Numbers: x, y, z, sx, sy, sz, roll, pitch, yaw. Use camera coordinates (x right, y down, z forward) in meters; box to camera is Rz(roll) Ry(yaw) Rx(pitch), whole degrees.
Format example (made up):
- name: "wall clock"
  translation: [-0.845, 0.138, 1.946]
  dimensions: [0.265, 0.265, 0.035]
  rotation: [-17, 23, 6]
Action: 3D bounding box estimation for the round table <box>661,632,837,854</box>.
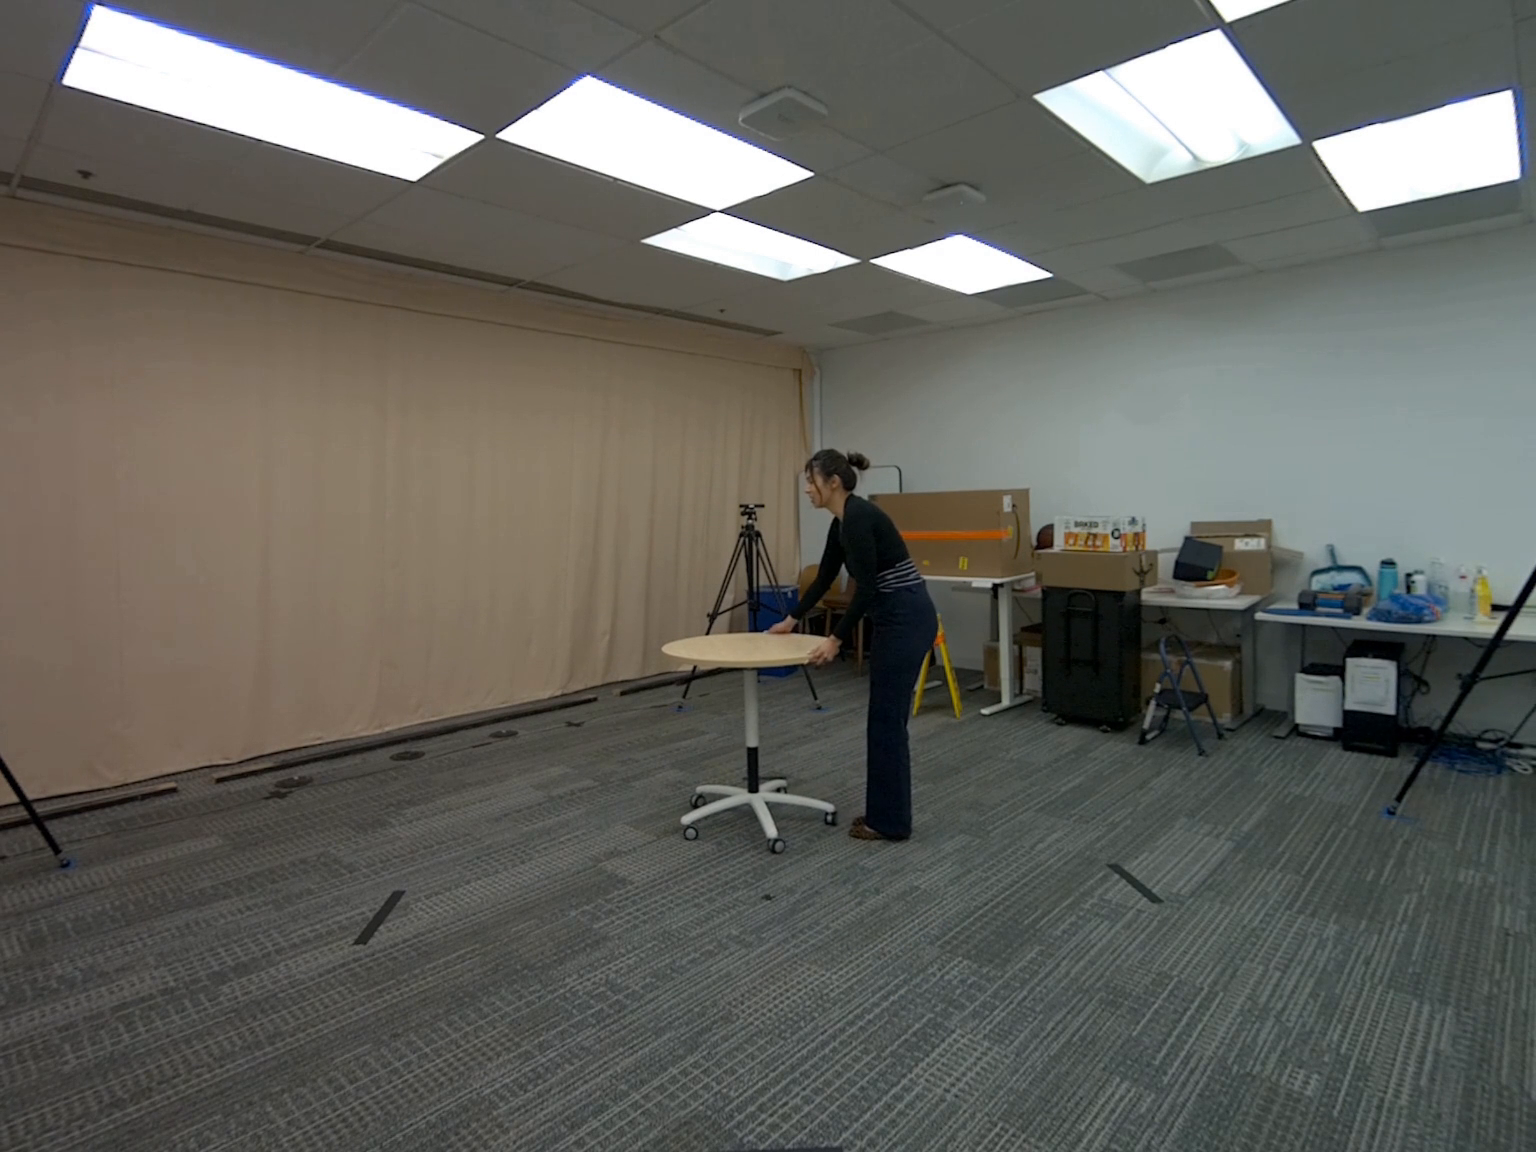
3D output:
- name: "round table"
  translation: [-0.064, 0.695, 3.663]
  dimensions: [0.763, 0.792, 0.766]
  rotation: [-1, 3, -2]
